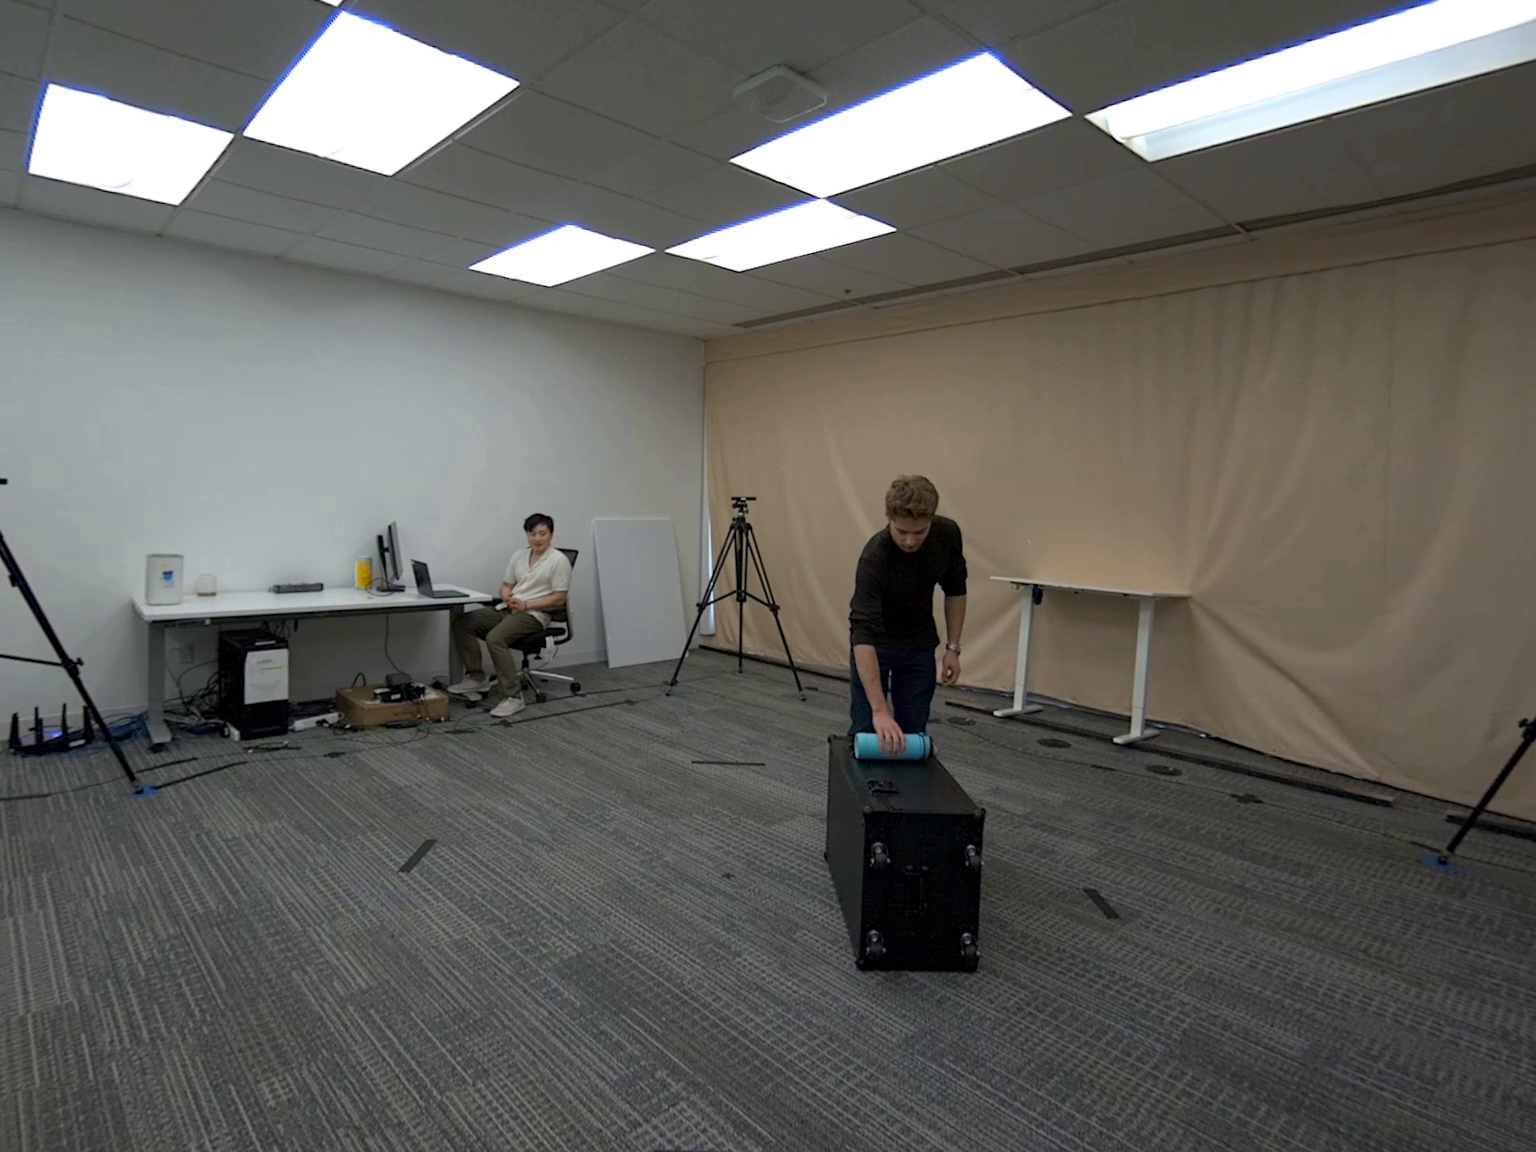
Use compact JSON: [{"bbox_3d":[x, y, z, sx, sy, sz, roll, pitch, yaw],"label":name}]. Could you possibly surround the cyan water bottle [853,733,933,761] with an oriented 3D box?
[{"bbox_3d":[0.449,0.607,2.972,0.283,0.092,0.093,0,4,-2],"label":"cyan water bottle"}]
